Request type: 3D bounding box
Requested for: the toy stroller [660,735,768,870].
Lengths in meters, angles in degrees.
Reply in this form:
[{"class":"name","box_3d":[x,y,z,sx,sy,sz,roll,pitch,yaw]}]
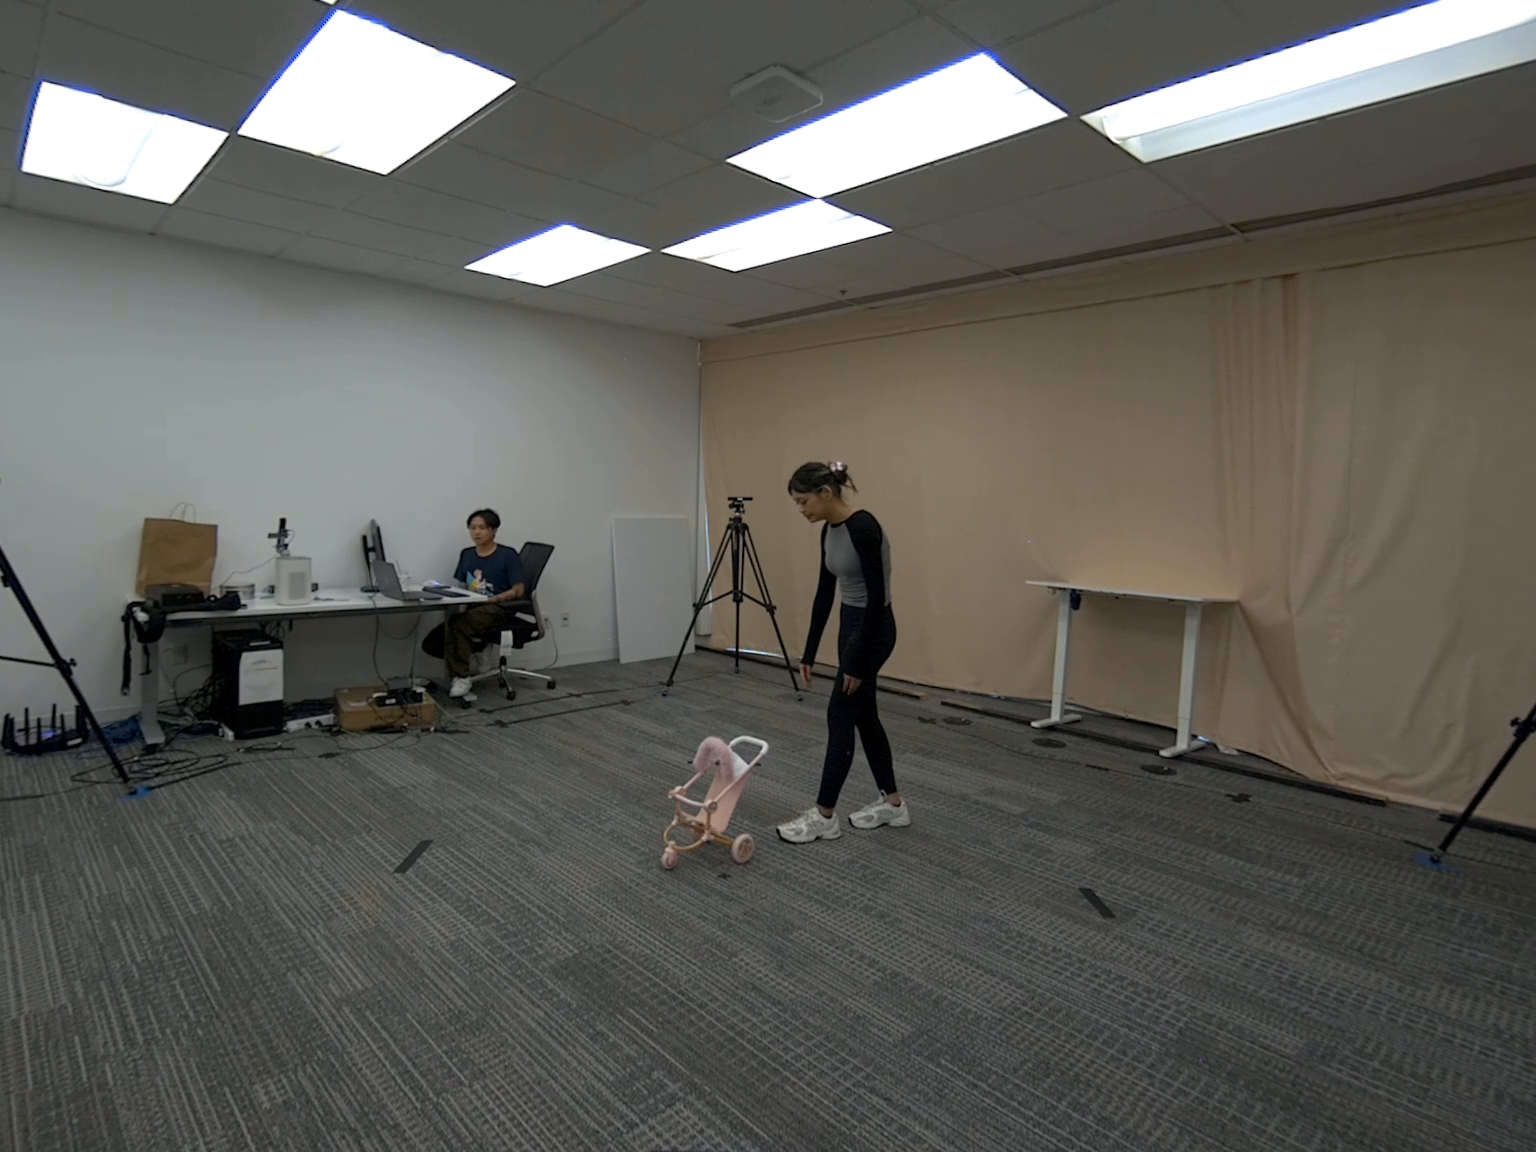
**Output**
[{"class":"toy stroller","box_3d":[-0.232,0.869,3.266,0.332,0.537,0.288,20,-9,-37]}]
